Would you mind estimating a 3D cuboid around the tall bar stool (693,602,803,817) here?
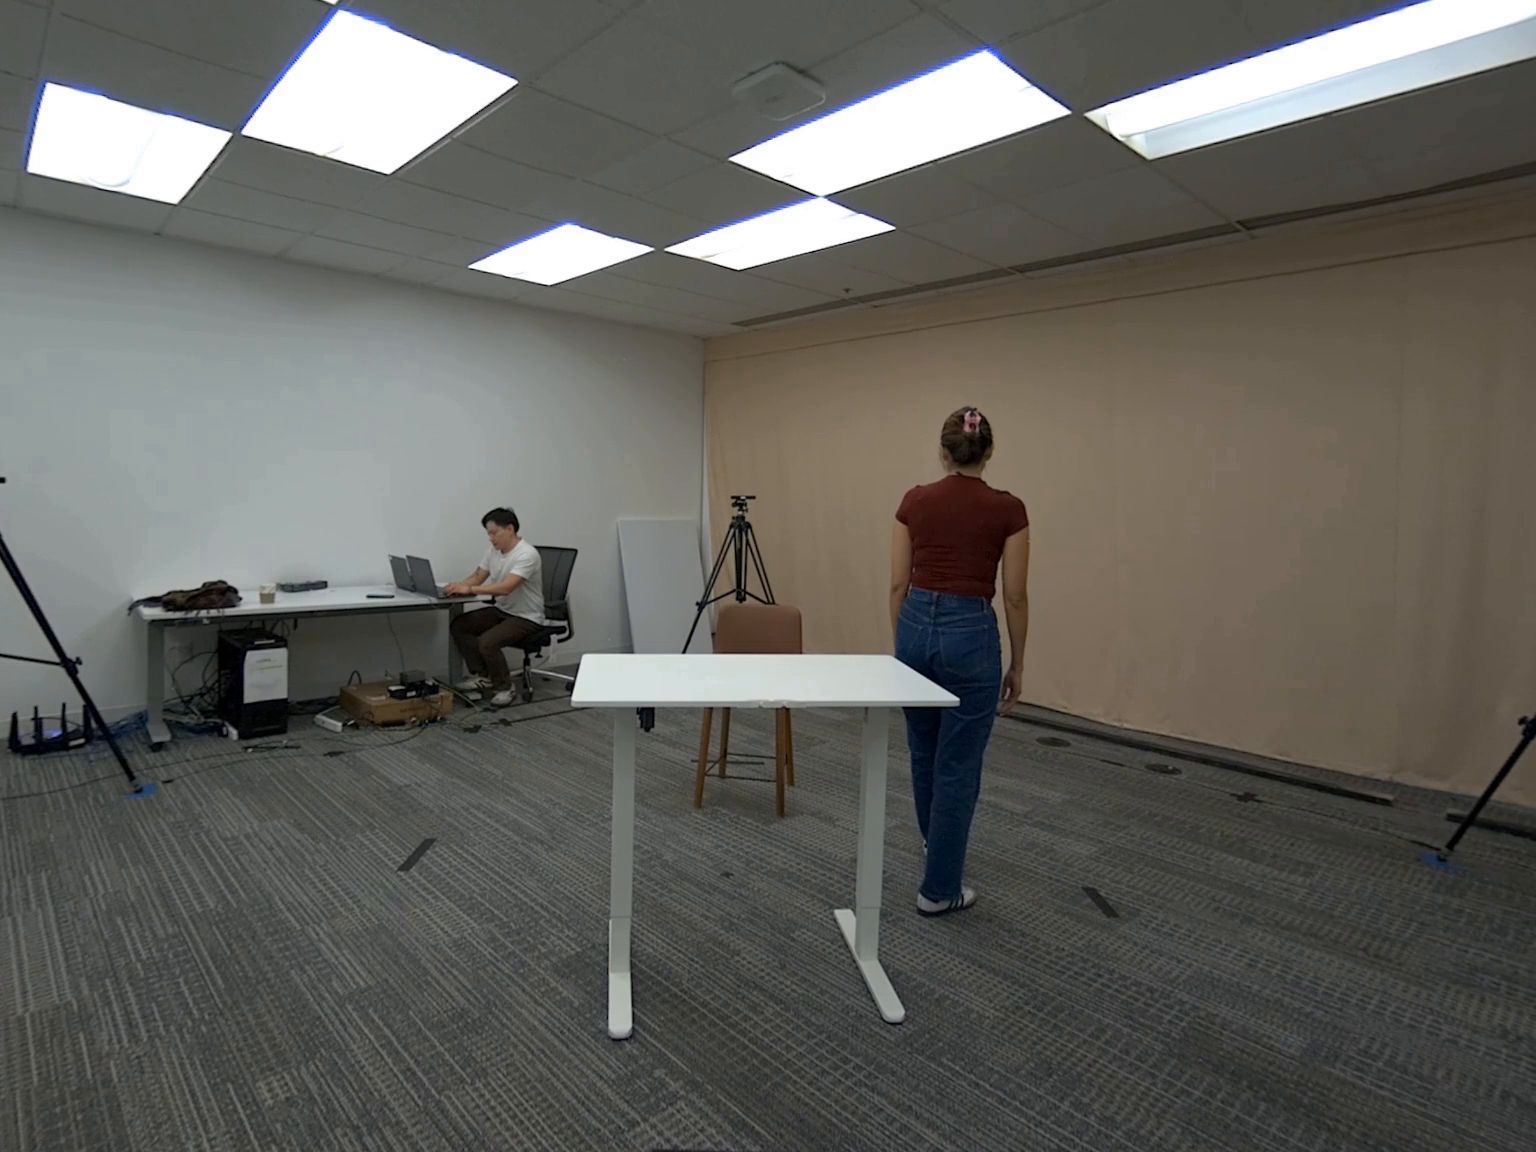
[{"bbox_3d":[-0.088,0.602,3.929,0.461,0.888,0.463,2,2,12],"label":"tall bar stool"}]
